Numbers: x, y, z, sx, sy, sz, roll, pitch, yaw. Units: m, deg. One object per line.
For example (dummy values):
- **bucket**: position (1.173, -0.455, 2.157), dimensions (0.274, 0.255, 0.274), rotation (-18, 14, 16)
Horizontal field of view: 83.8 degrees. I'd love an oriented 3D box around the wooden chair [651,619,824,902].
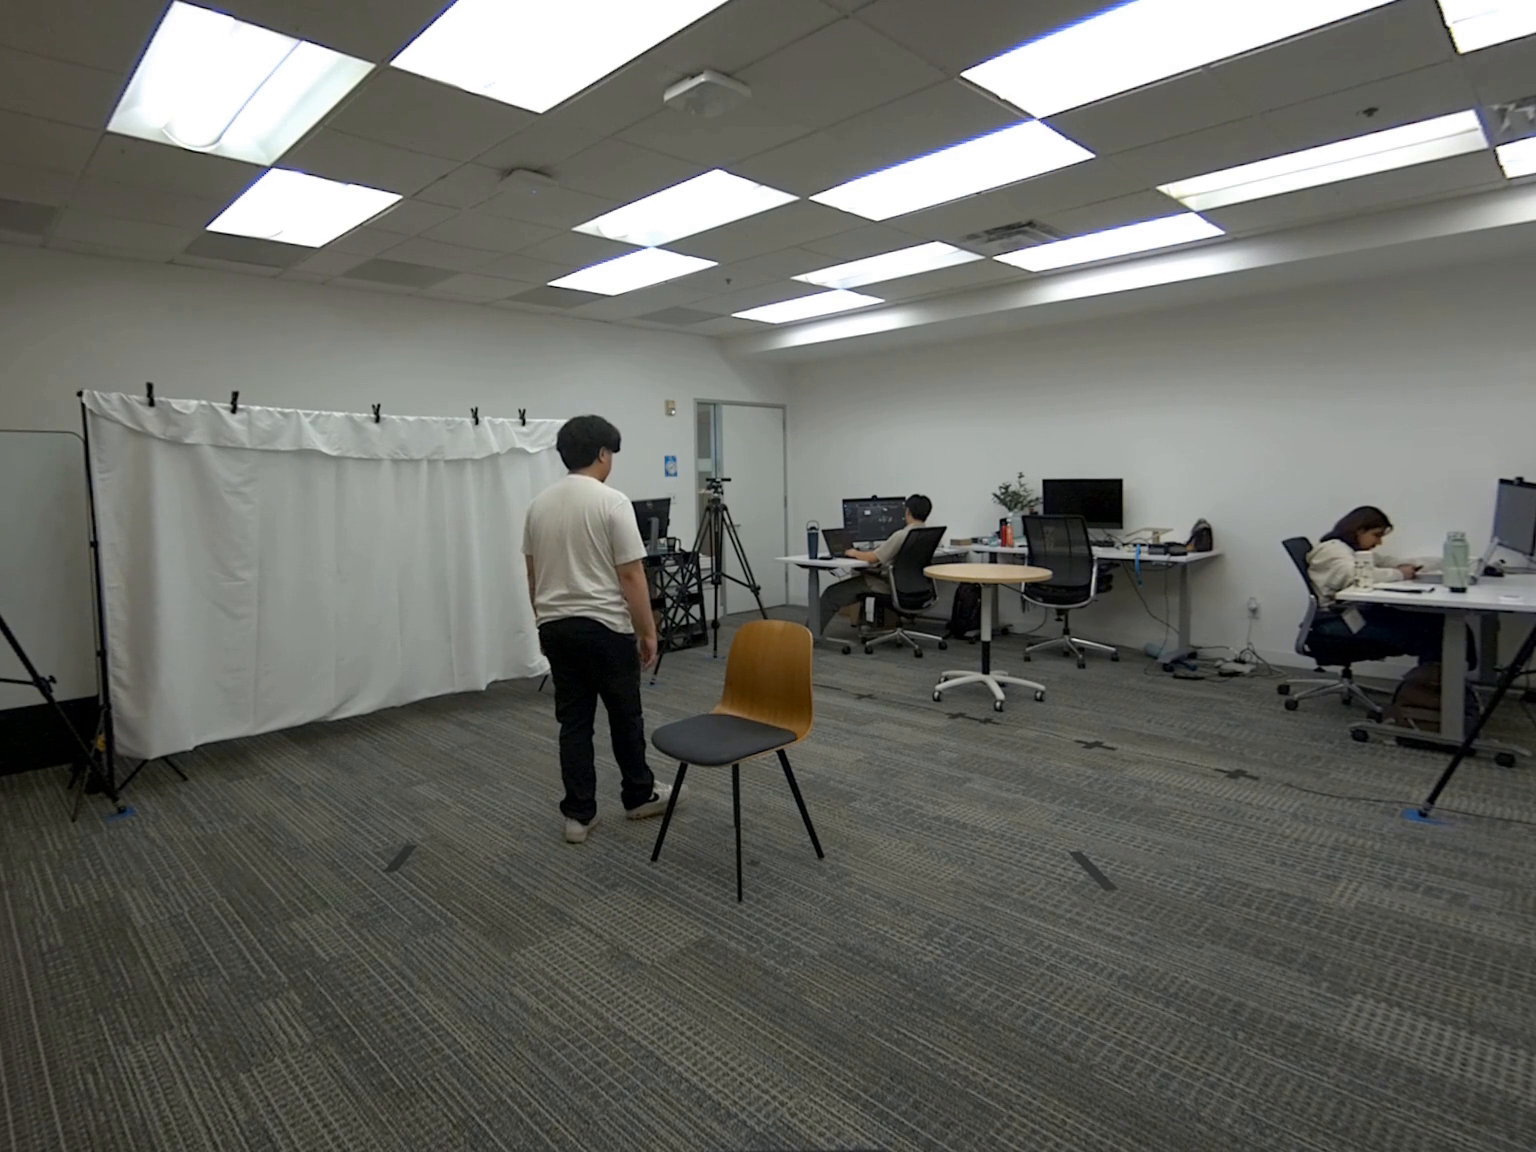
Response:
- **wooden chair**: position (-0.121, 0.616, 3.088), dimensions (0.493, 0.876, 0.508), rotation (4, 2, 43)
